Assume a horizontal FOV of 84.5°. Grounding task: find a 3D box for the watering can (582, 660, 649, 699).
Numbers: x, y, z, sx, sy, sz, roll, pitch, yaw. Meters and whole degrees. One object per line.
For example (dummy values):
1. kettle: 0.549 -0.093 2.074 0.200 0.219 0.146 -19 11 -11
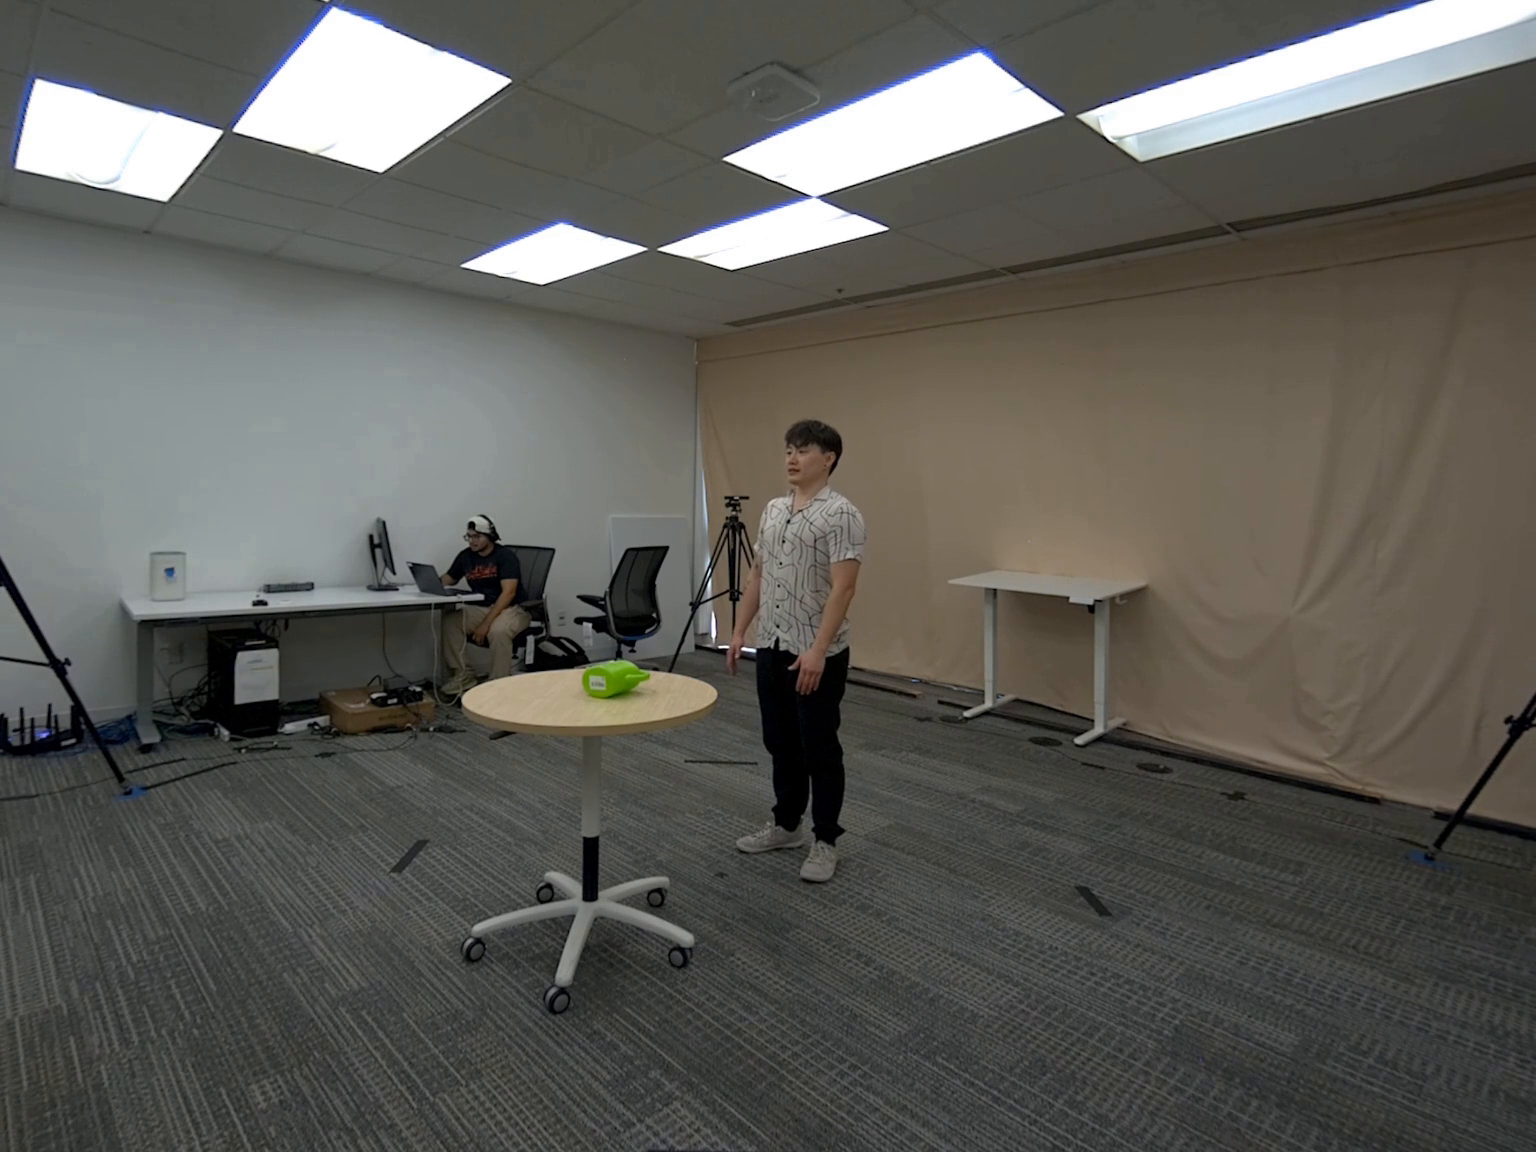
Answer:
1. watering can: -0.509 0.324 2.603 0.282 0.098 0.173 -15 -4 30
